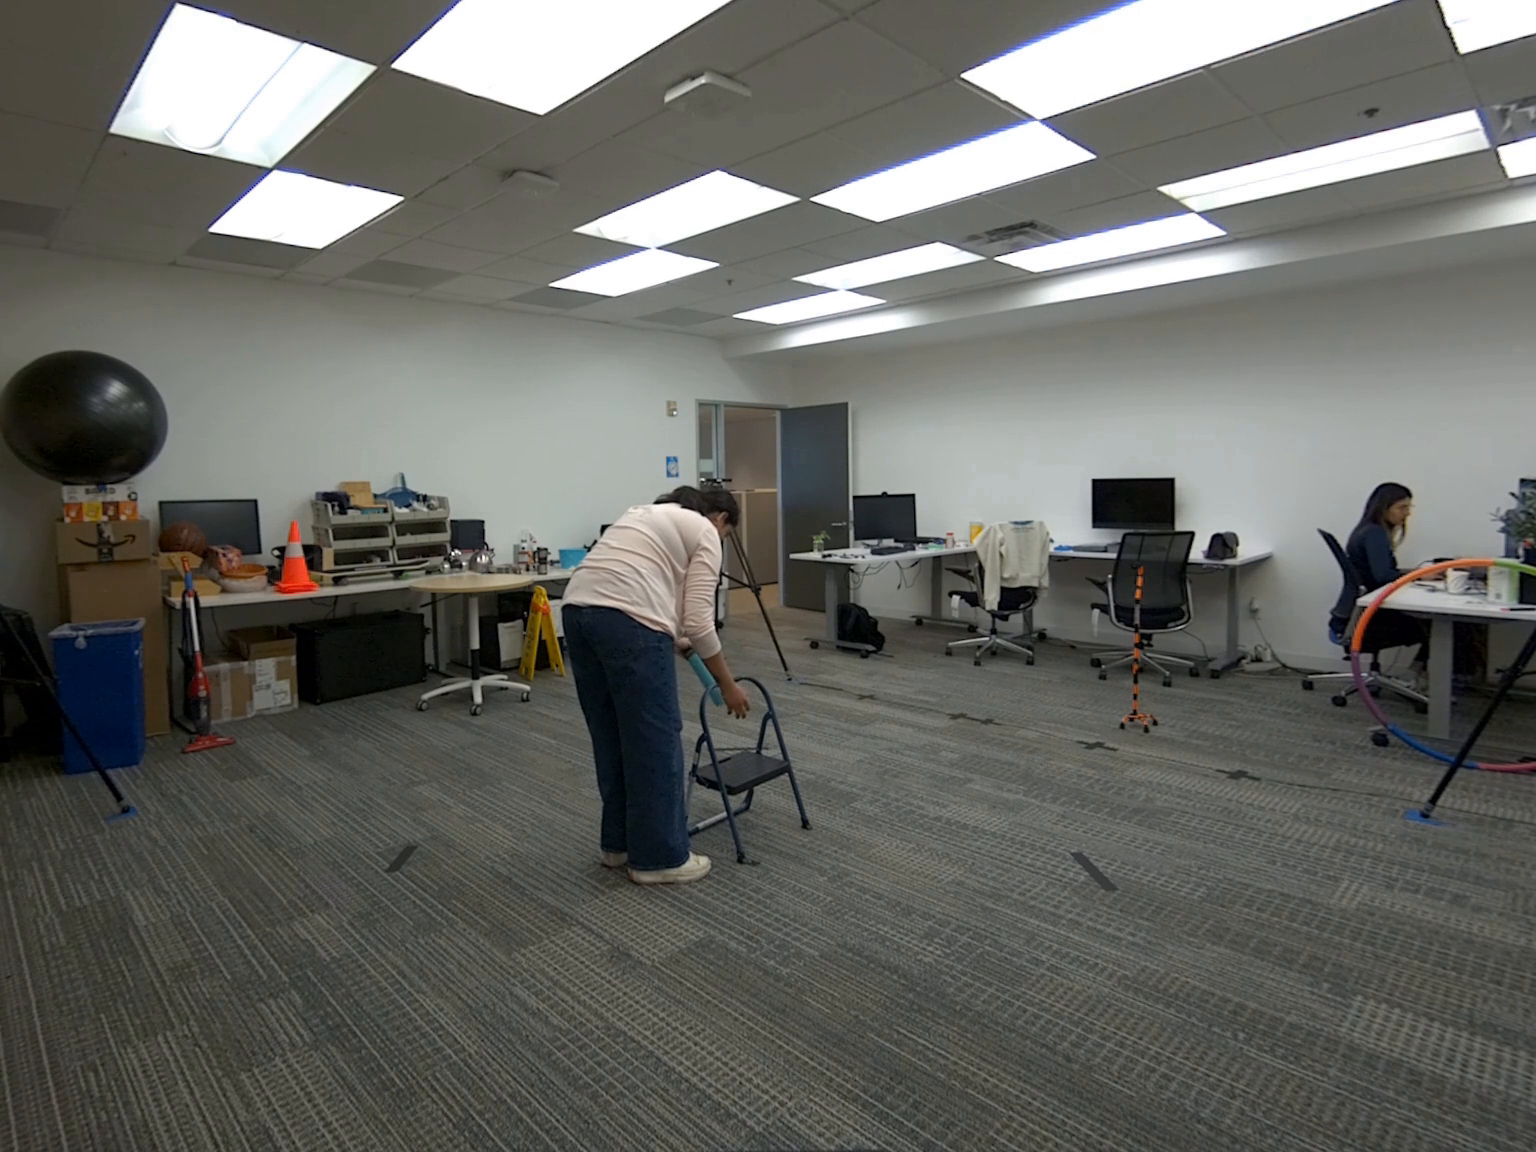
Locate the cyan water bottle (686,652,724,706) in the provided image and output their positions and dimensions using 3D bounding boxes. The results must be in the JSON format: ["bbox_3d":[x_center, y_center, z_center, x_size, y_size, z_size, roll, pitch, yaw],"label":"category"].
[{"bbox_3d":[-0.246,0.393,3.495,0.092,0.289,0.091,-30,-16,-11],"label":"cyan water bottle"}]
